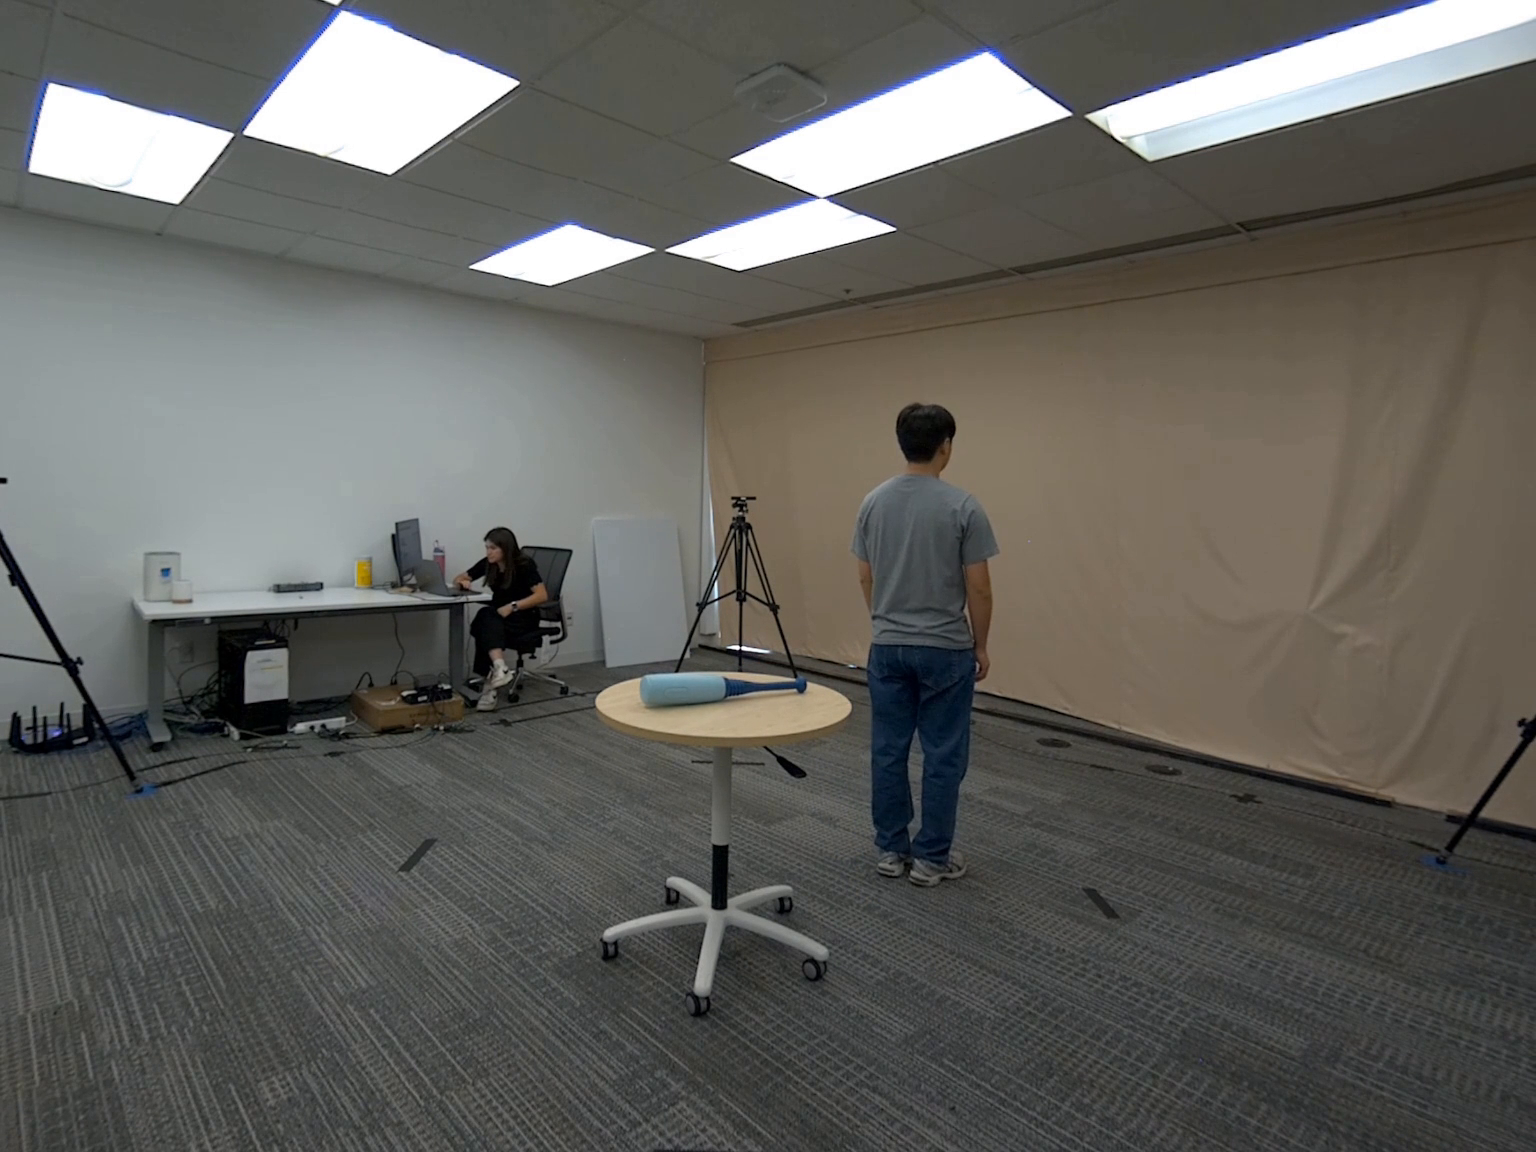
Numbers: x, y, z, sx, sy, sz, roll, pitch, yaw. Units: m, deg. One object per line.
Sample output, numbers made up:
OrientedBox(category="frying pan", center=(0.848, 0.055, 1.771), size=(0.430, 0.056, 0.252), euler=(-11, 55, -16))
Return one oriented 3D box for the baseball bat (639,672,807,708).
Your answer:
OrientedBox(category="baseball bat", center=(-0.123, 0.340, 2.530), size=(0.532, 0.089, 0.091), euler=(2, 3, -27))
